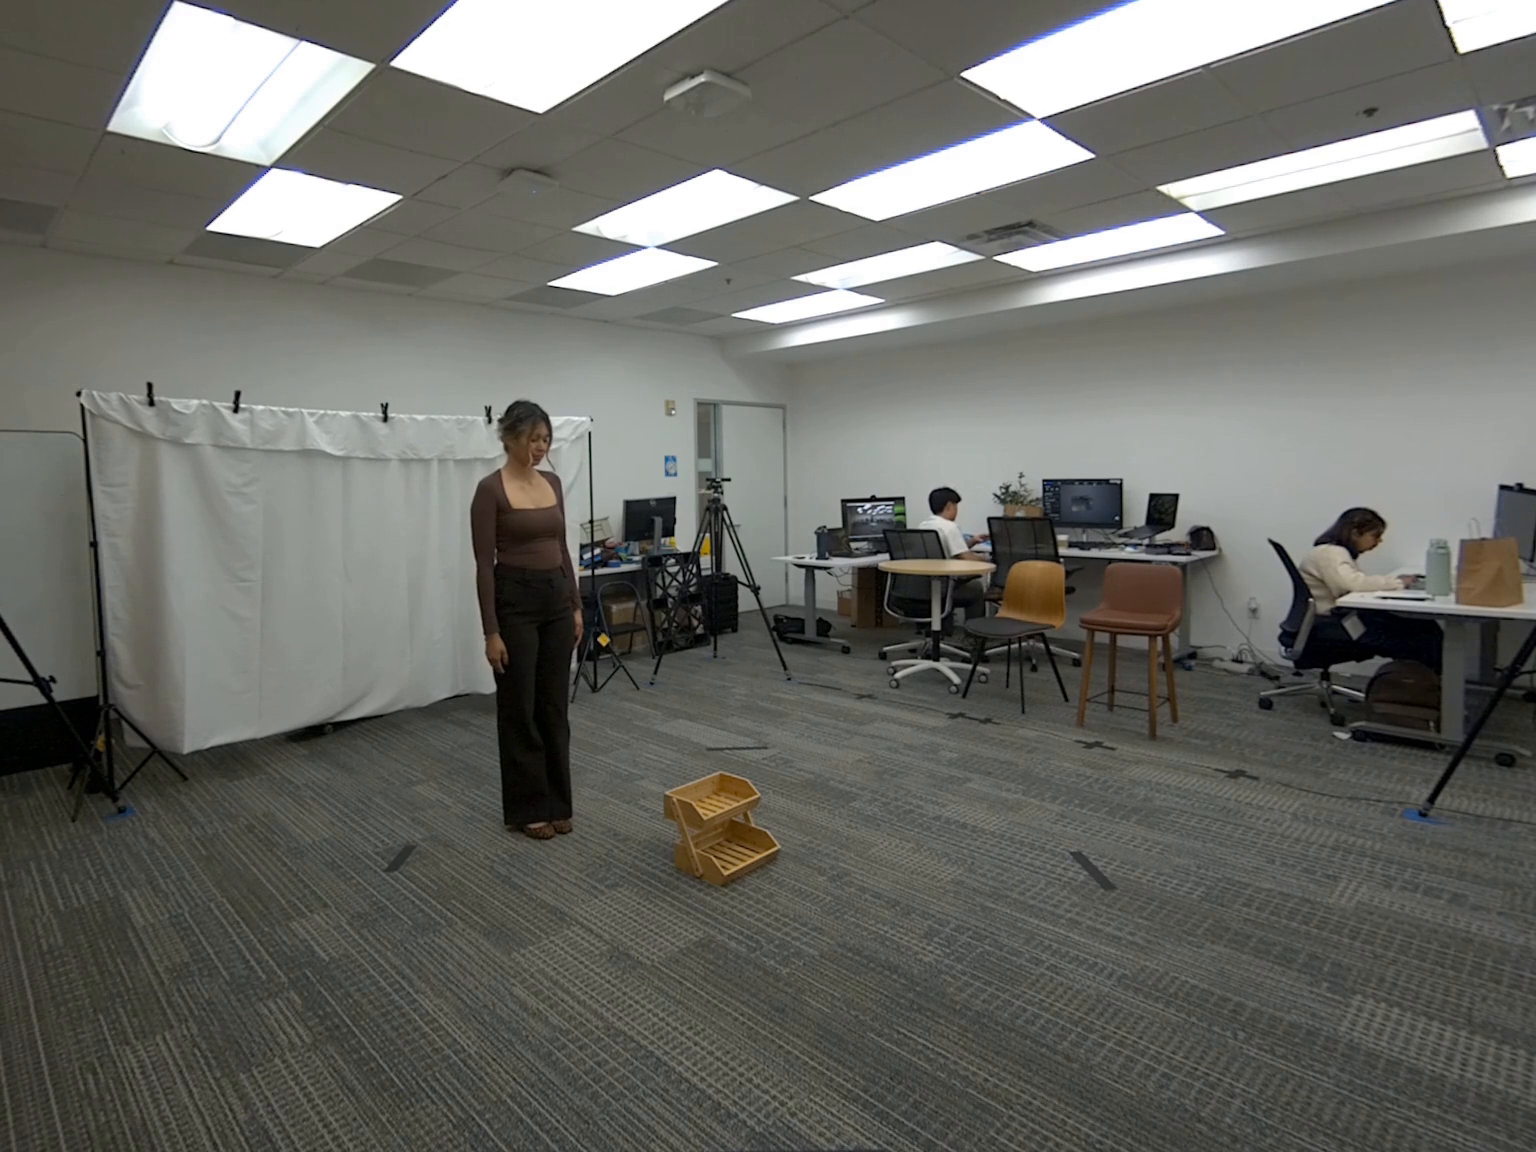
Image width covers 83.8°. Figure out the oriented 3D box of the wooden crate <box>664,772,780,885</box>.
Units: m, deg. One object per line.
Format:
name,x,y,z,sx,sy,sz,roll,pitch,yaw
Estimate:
wooden crate,-0.162,0.909,3.115,0.311,0.272,0.316,4,7,42
